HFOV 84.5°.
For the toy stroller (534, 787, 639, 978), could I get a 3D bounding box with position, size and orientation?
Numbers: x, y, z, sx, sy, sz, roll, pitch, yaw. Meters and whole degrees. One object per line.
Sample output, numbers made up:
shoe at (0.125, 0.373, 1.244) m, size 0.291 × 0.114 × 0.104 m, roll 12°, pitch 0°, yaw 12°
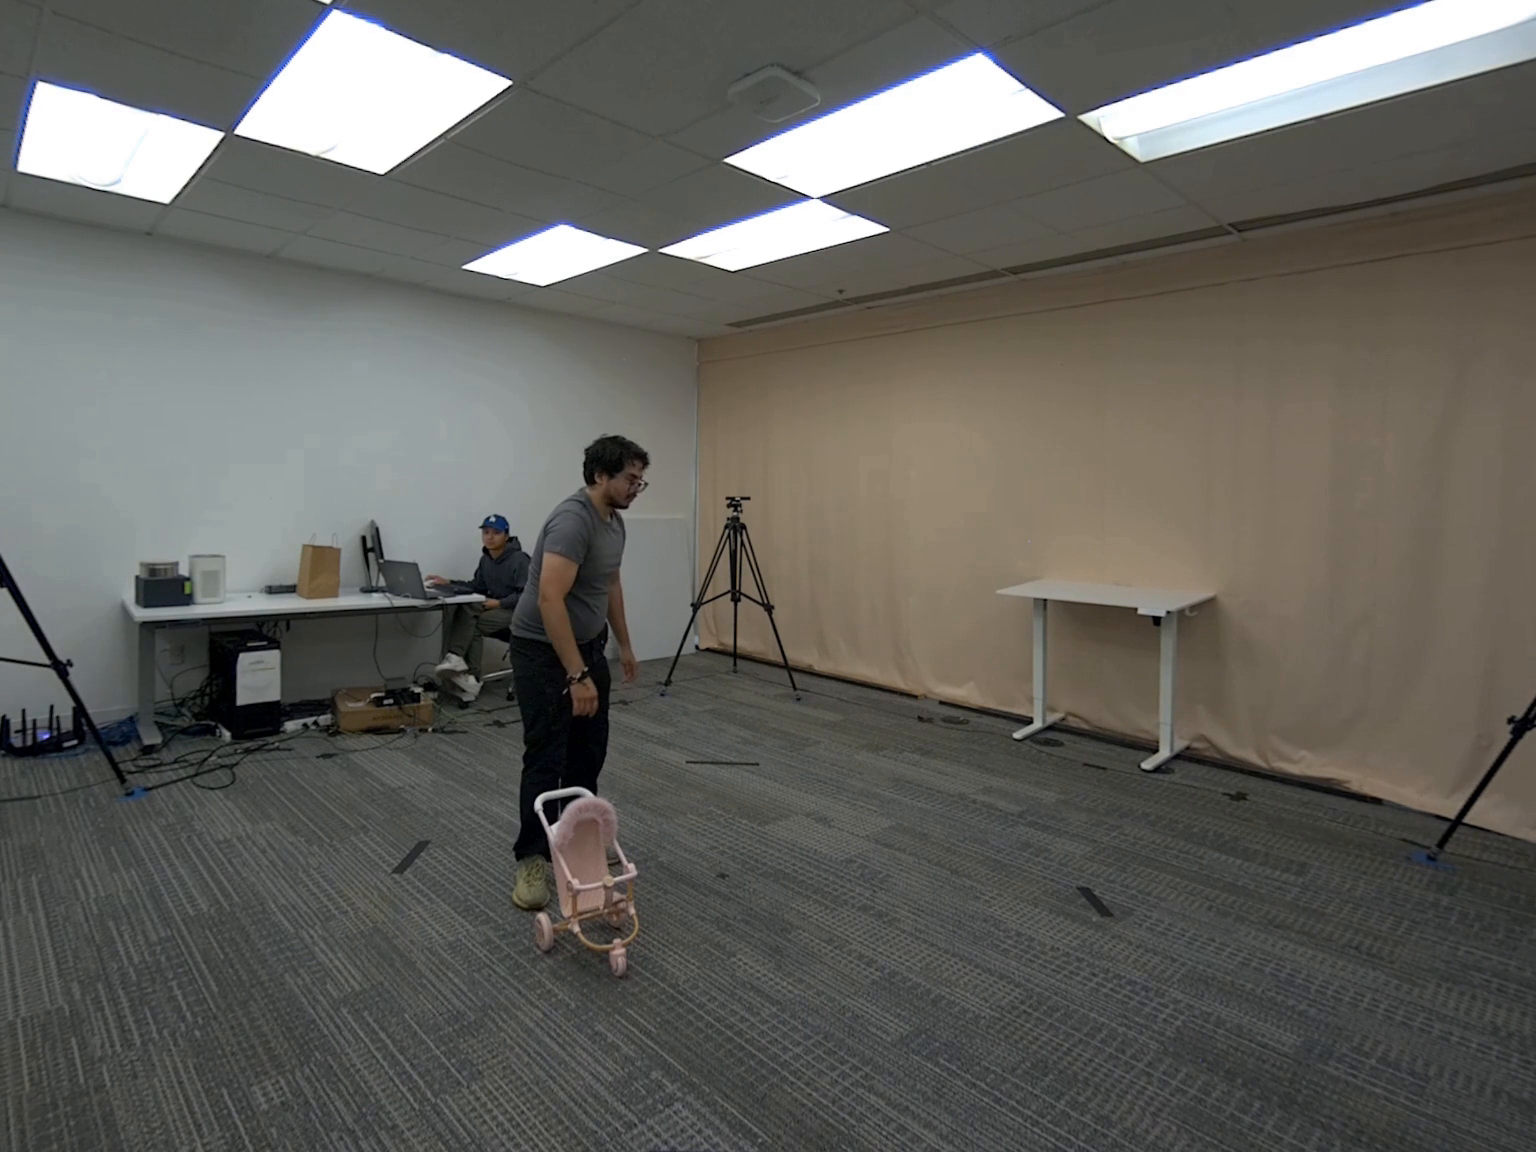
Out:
toy stroller at (-0.556, 0.924, 2.586) m, size 0.275 × 0.540 × 0.345 m, roll -1°, pitch -13°, yaw -33°
